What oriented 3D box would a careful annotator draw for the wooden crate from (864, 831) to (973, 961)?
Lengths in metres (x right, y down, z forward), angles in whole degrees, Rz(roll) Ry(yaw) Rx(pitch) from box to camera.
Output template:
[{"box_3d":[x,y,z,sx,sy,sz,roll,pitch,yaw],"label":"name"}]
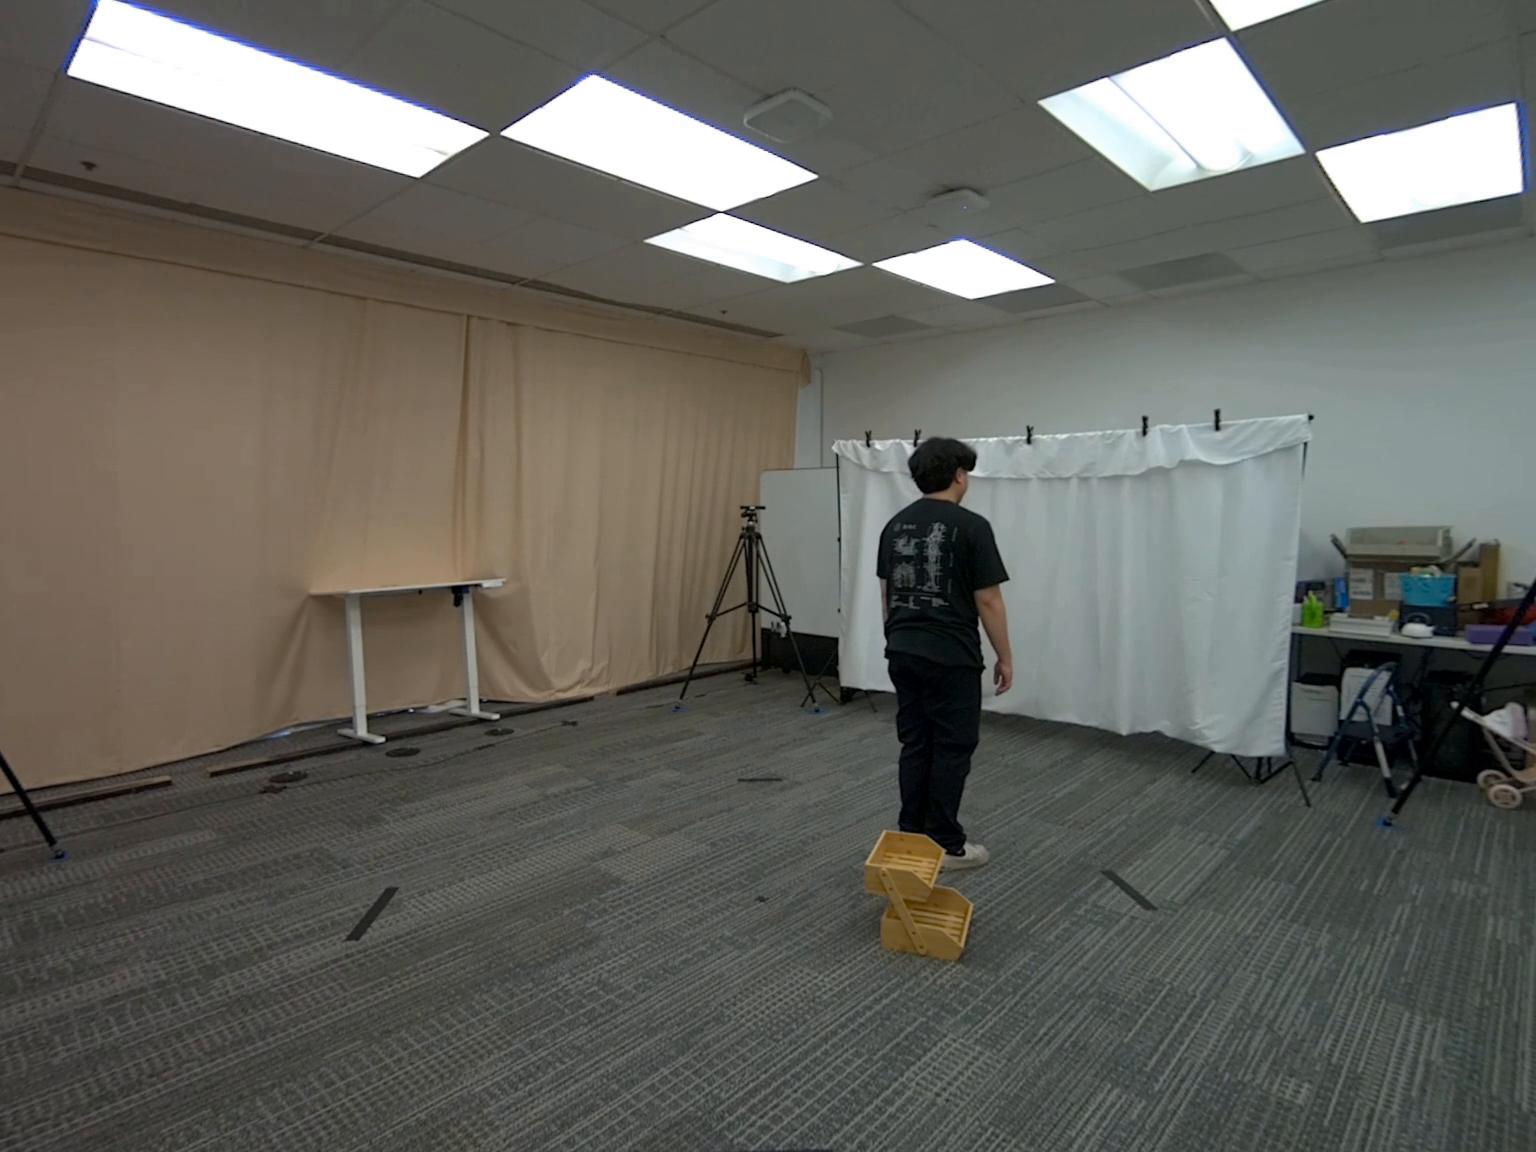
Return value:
[{"box_3d":[0.509,1.030,2.745,0.309,0.273,0.318,1,4,21],"label":"wooden crate"}]
